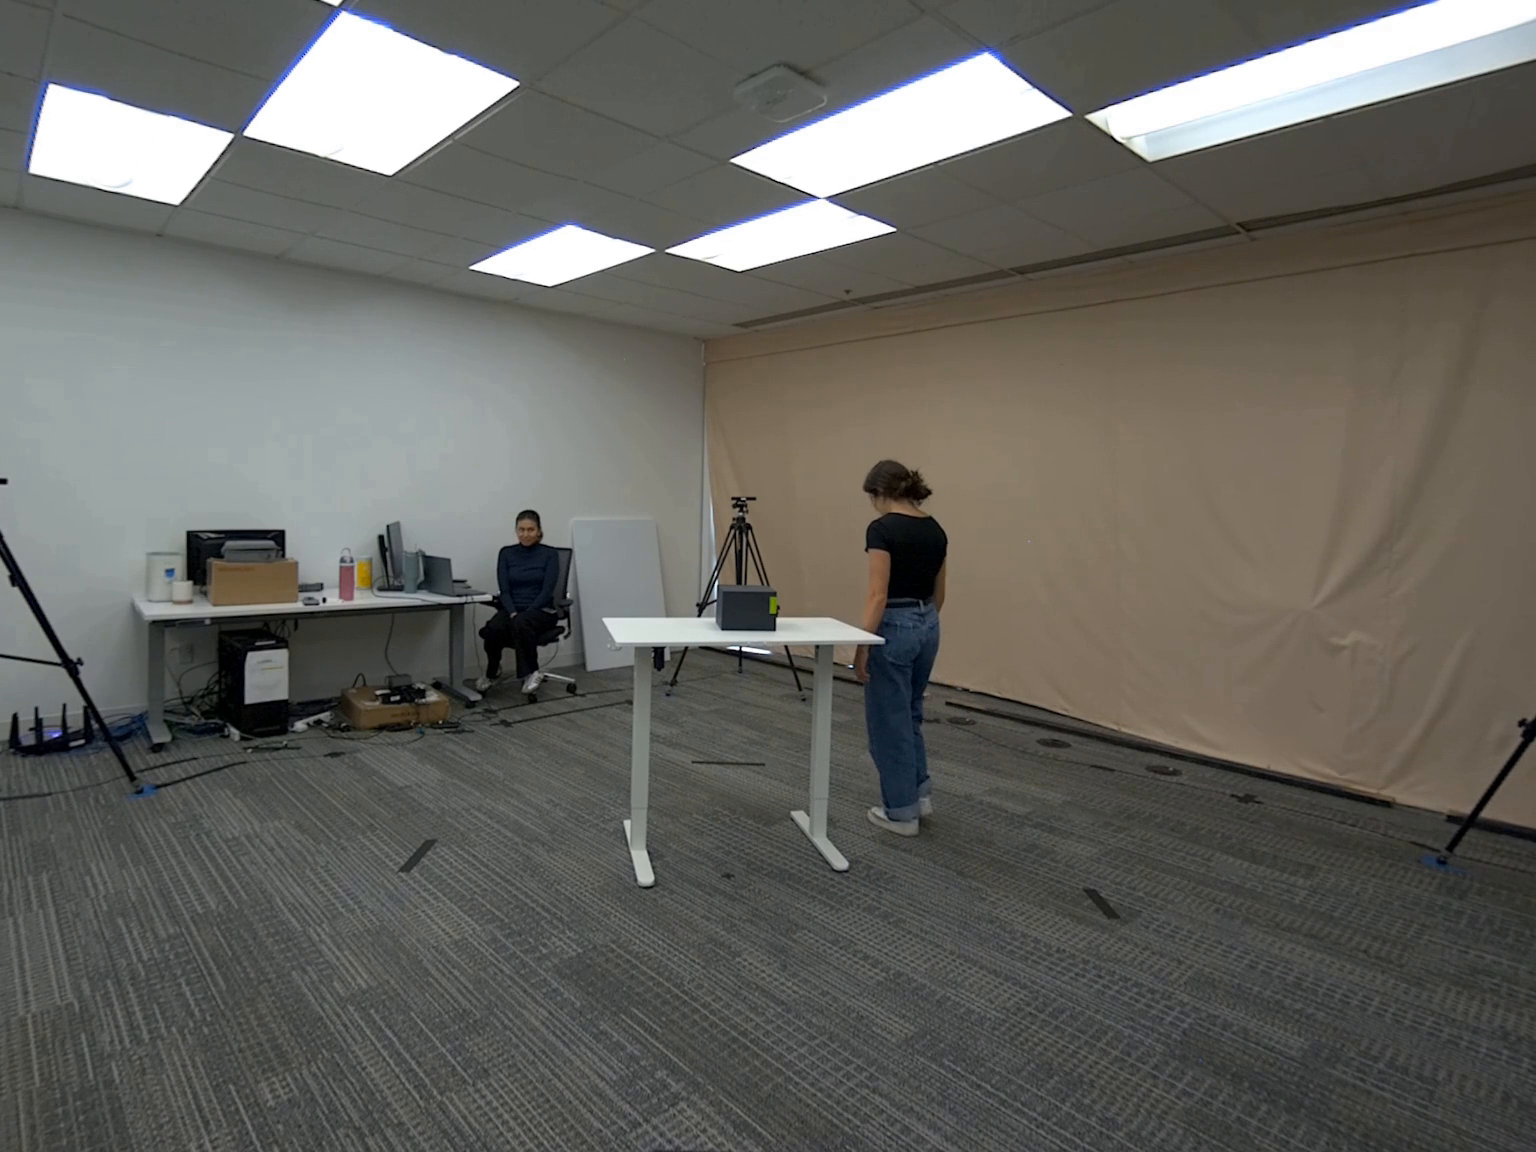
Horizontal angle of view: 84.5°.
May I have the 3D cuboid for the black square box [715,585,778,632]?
[{"bbox_3d":[-0.092,0.117,3.355,0.216,0.155,0.229,0,5,-5],"label":"black square box"}]
